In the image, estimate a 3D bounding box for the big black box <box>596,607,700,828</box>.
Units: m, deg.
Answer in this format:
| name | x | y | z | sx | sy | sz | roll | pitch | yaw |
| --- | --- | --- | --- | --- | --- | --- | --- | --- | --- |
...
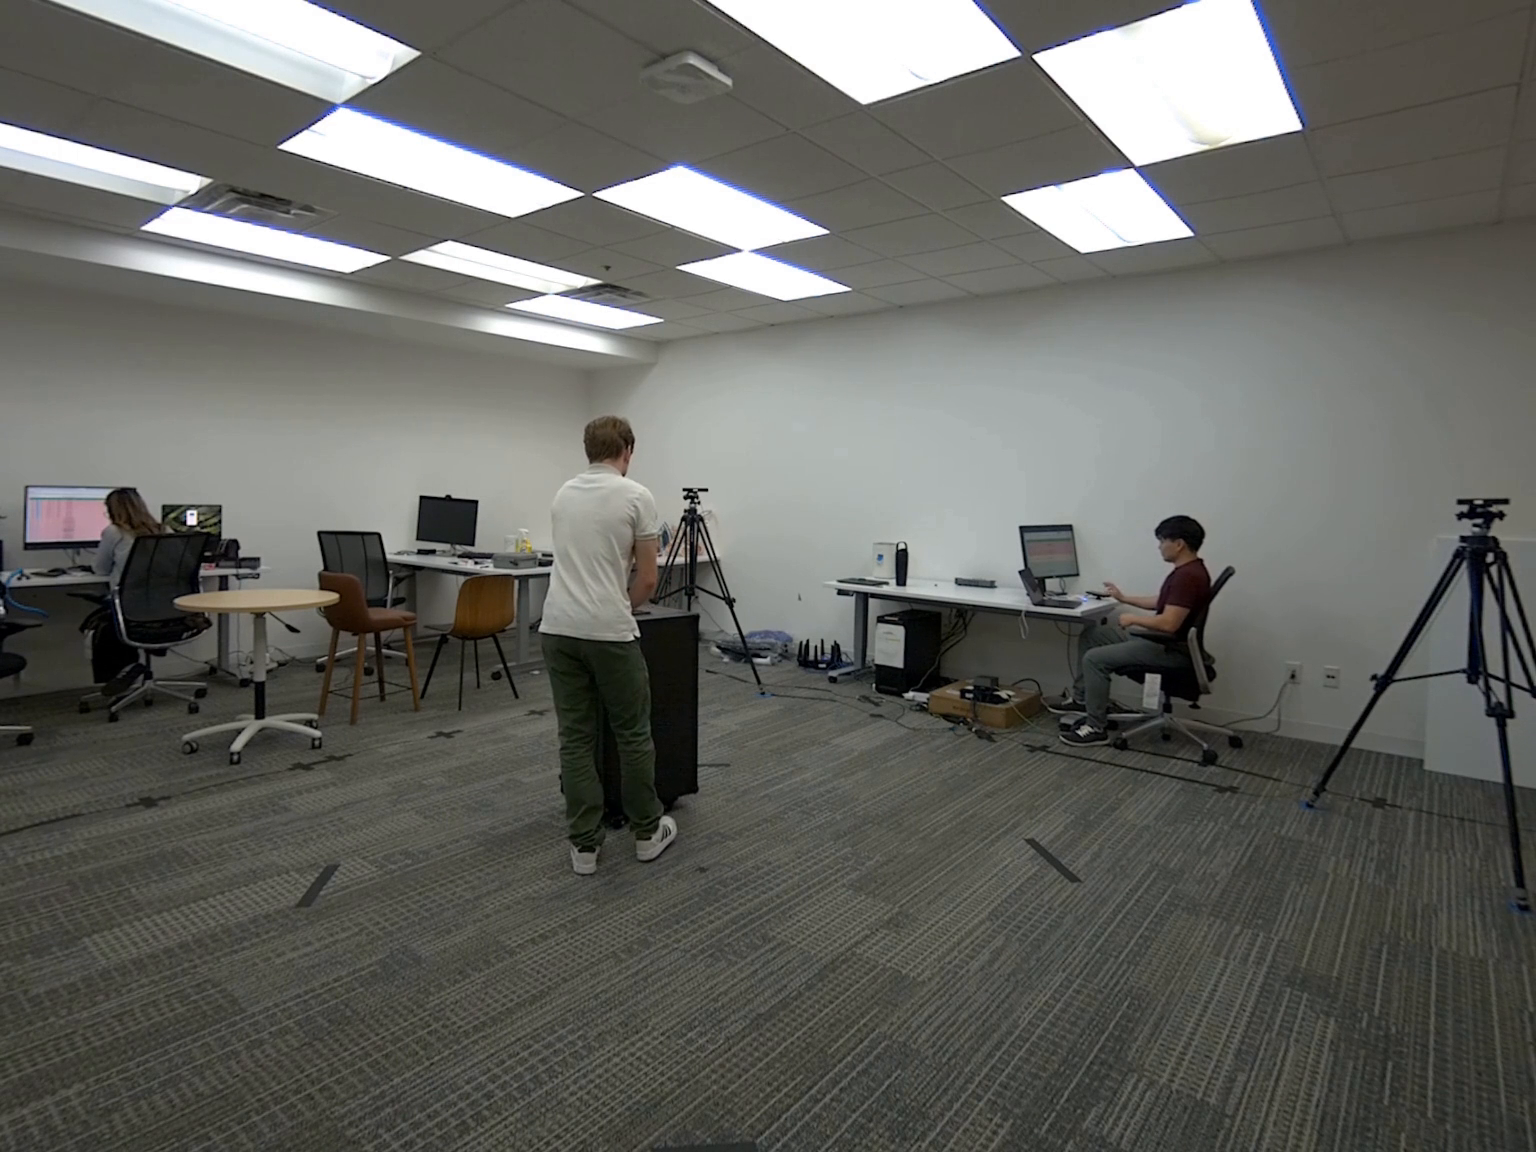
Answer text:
| name | x | y | z | sx | sy | sz | roll | pitch | yaw |
| --- | --- | --- | --- | --- | --- | --- | --- | --- | --- |
| big black box | -0.615 | 0.588 | 3.672 | 0.507 | 0.866 | 0.398 | -2 | 4 | -42 |
